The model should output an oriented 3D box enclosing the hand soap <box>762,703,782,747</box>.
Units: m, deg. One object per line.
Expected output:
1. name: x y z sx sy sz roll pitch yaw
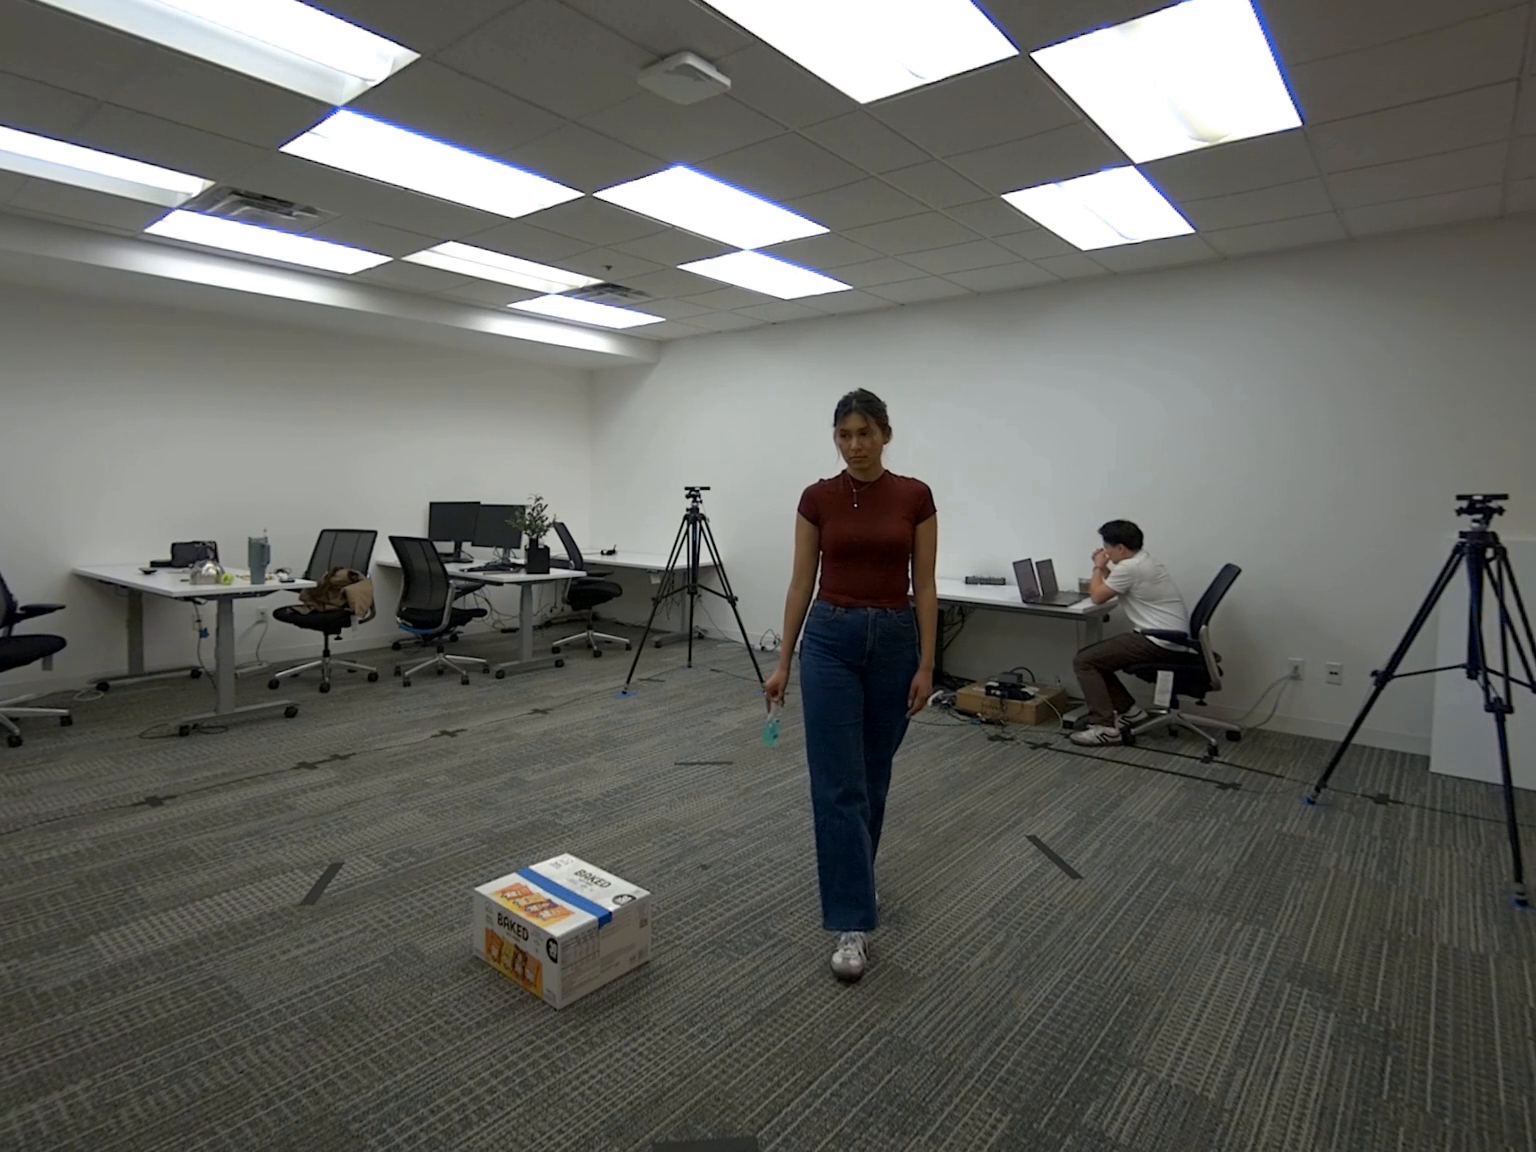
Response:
1. hand soap: 0.008 0.461 2.765 0.044 0.167 0.083 10 9 15
